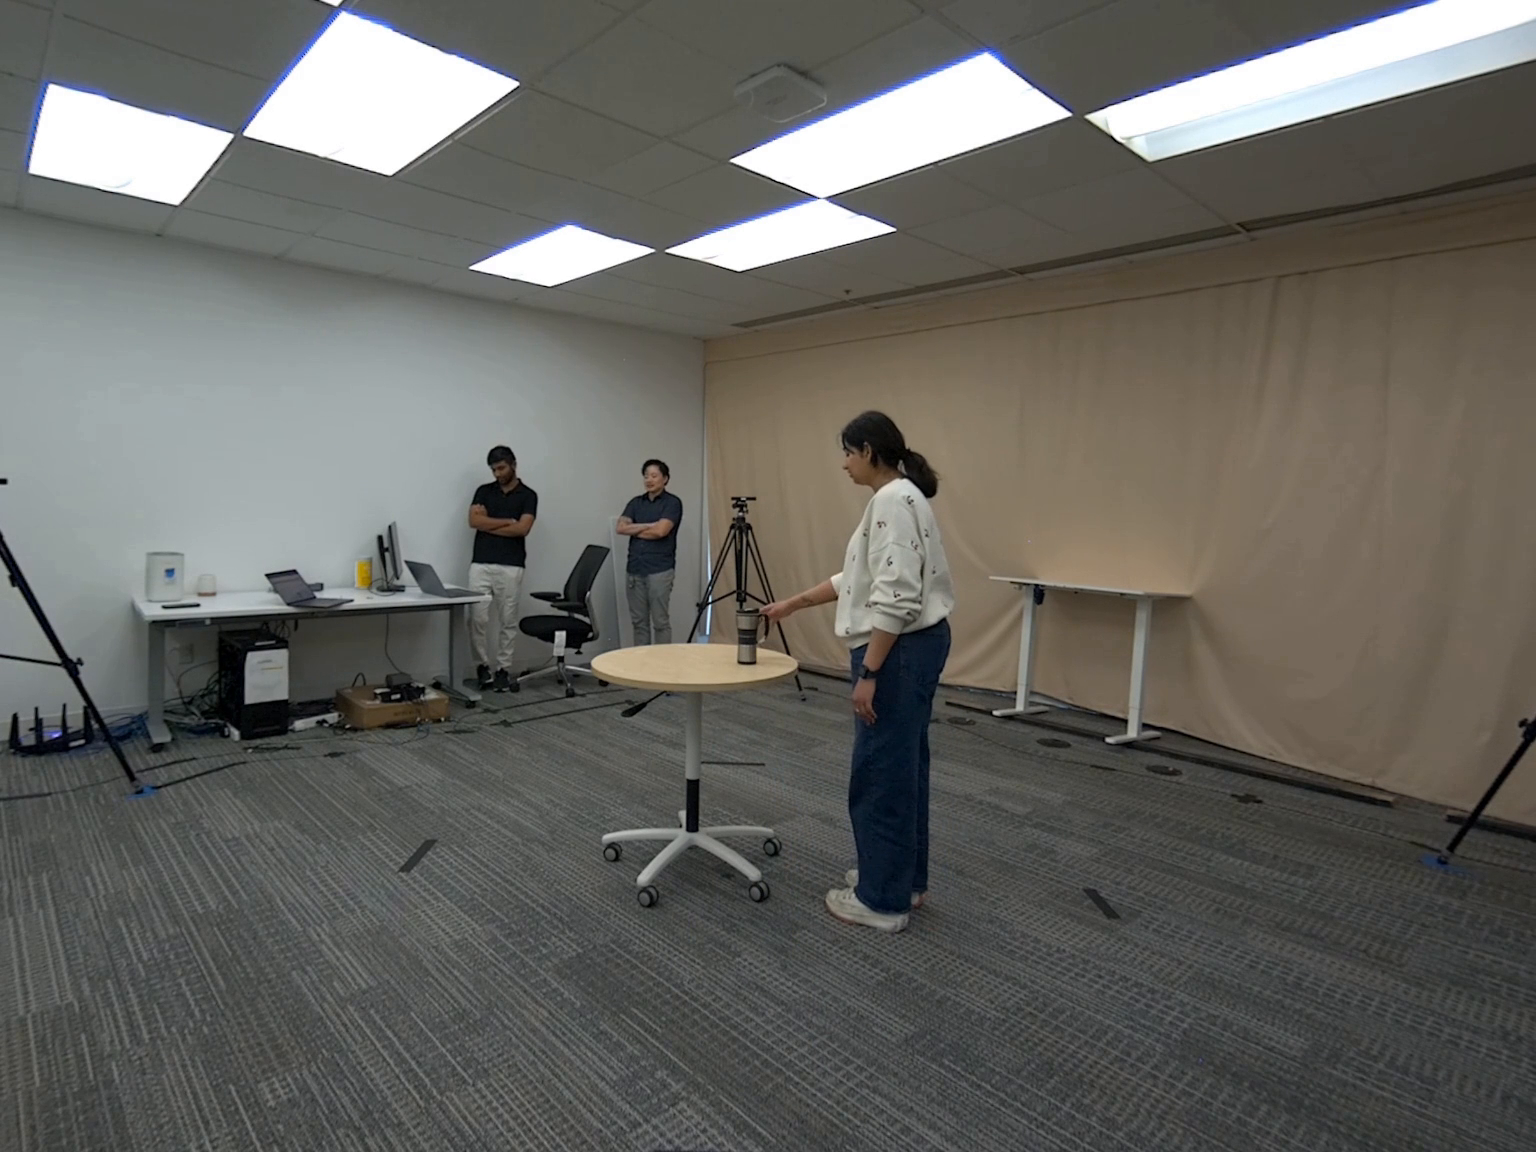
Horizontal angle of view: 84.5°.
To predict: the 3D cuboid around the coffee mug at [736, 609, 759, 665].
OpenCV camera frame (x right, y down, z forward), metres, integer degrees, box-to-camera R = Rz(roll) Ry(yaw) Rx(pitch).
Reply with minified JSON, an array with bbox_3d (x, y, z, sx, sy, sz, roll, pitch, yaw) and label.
[{"bbox_3d":[-0.067,0.229,3.088,0.085,0.203,0.125,8,-3,-42],"label":"coffee mug"}]
